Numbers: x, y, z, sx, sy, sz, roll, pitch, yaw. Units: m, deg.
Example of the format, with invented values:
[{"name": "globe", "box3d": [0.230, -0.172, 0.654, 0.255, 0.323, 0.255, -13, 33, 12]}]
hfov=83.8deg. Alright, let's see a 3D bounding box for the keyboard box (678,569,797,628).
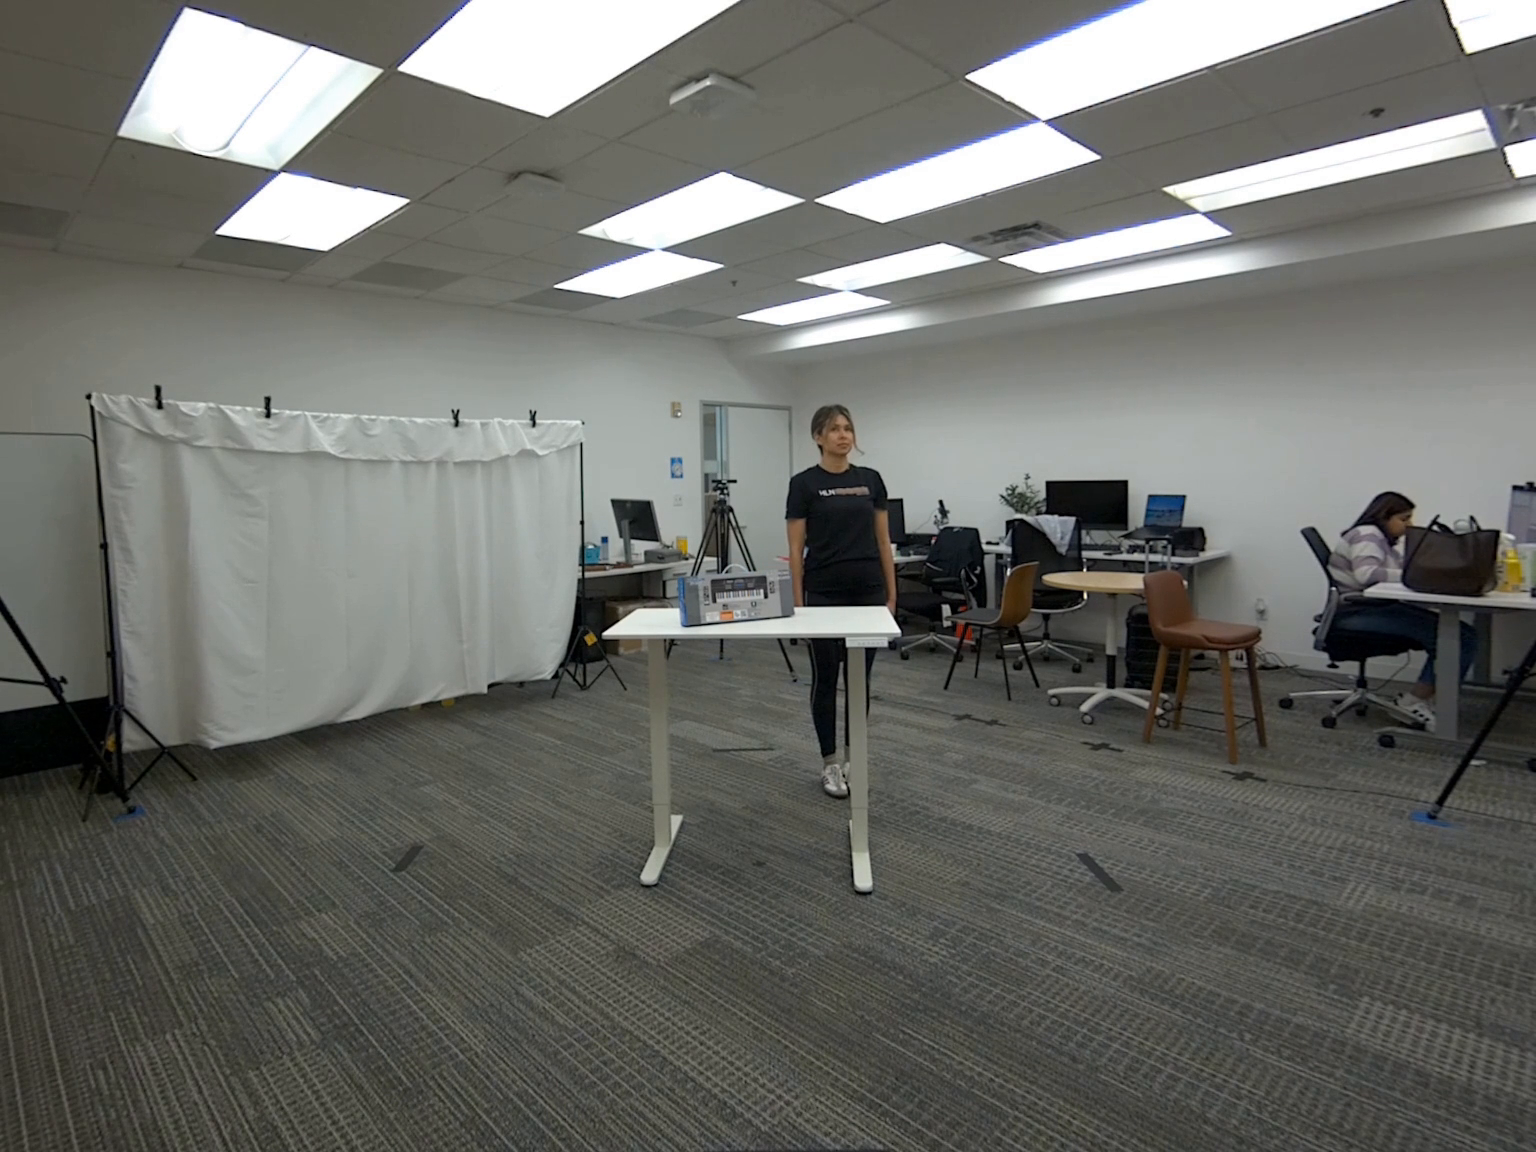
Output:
[{"name": "keyboard box", "box3d": [-0.110, 0.078, 3.115, 0.428, 0.176, 0.060, -4, -3, -25]}]
